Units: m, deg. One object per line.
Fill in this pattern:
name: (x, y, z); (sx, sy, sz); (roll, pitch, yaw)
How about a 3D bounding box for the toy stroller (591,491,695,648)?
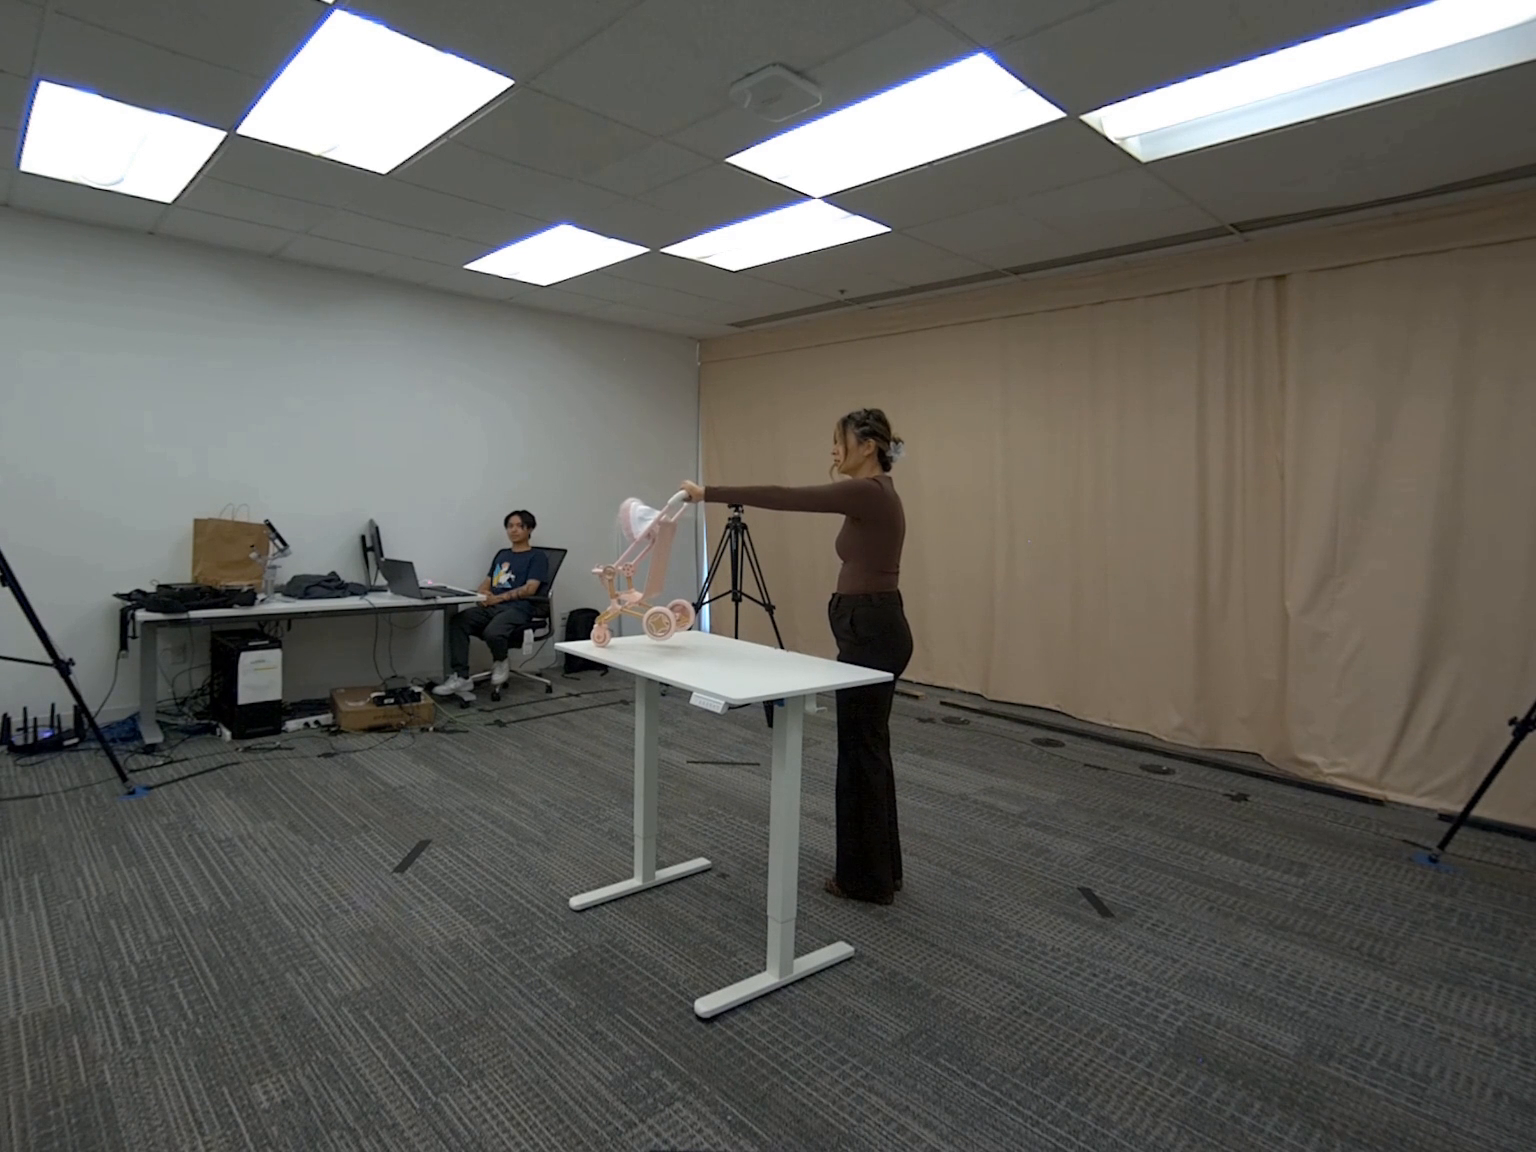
toy stroller: (-0.432, -0.014, 2.800); (0.346, 0.534, 0.278); (3, 3, 17)
